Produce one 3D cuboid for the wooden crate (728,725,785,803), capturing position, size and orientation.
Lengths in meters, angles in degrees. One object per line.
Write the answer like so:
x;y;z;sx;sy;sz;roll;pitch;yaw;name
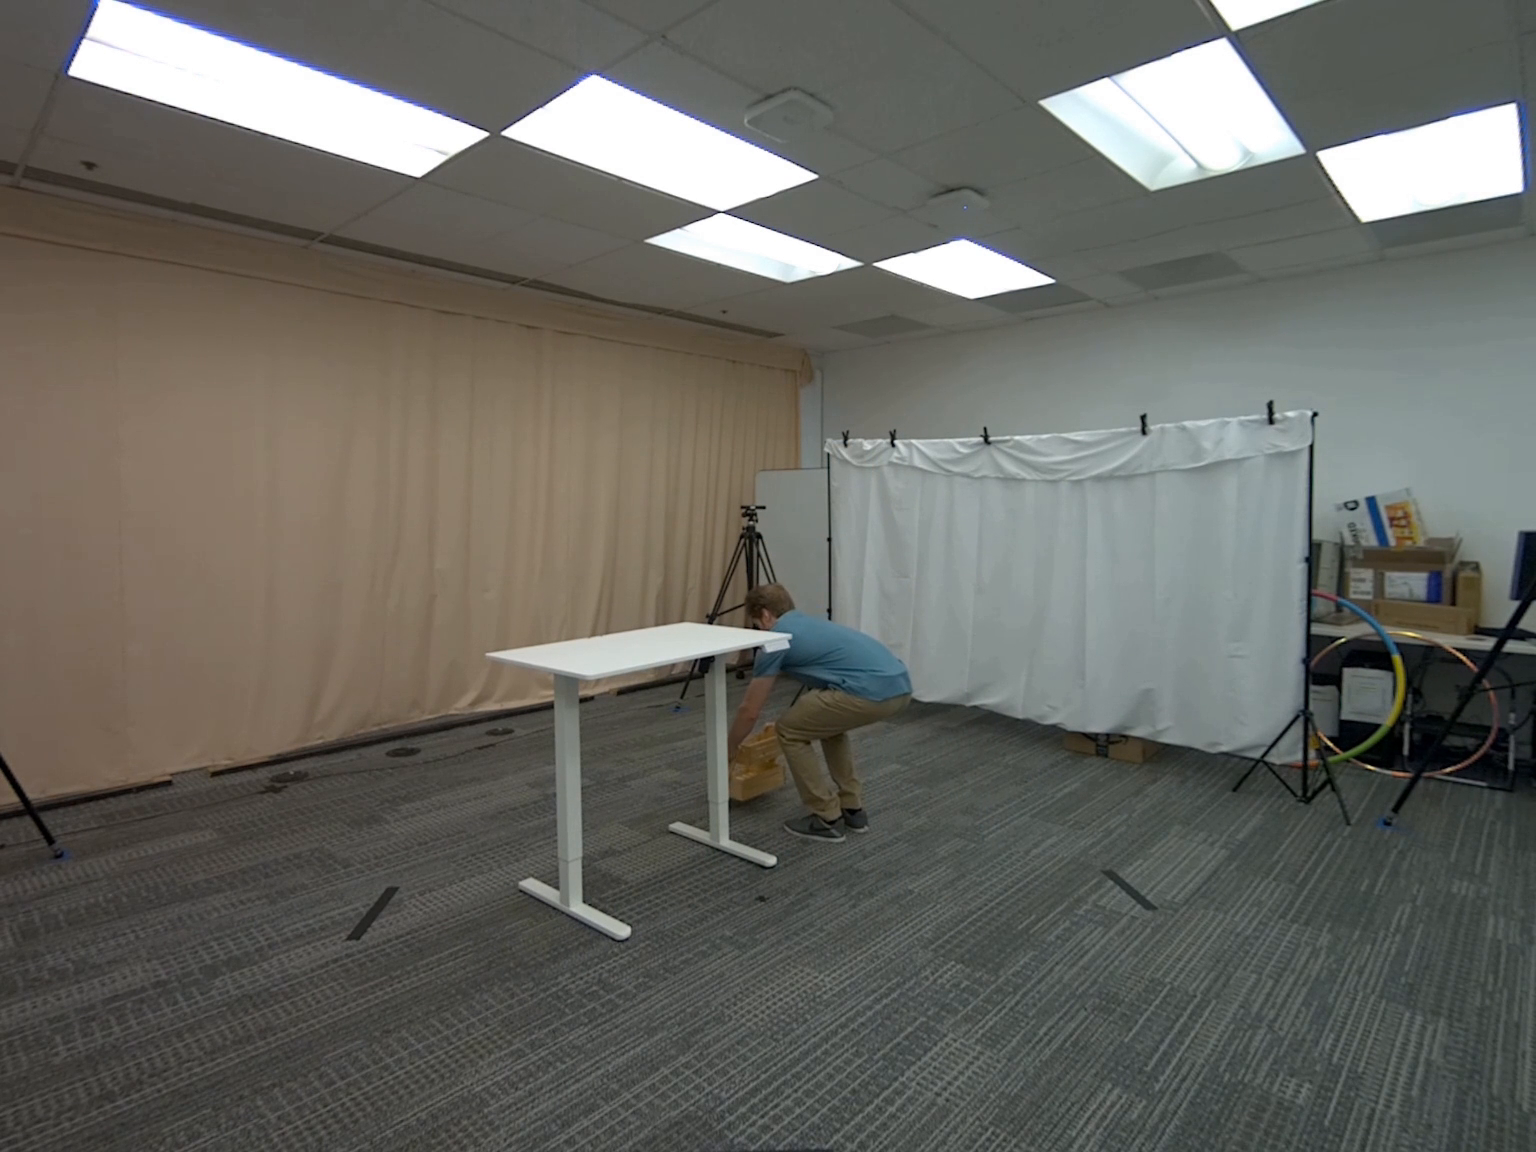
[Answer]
-0.099;0.868;3.977;0.312;0.272;0.315;3;6;43;wooden crate
